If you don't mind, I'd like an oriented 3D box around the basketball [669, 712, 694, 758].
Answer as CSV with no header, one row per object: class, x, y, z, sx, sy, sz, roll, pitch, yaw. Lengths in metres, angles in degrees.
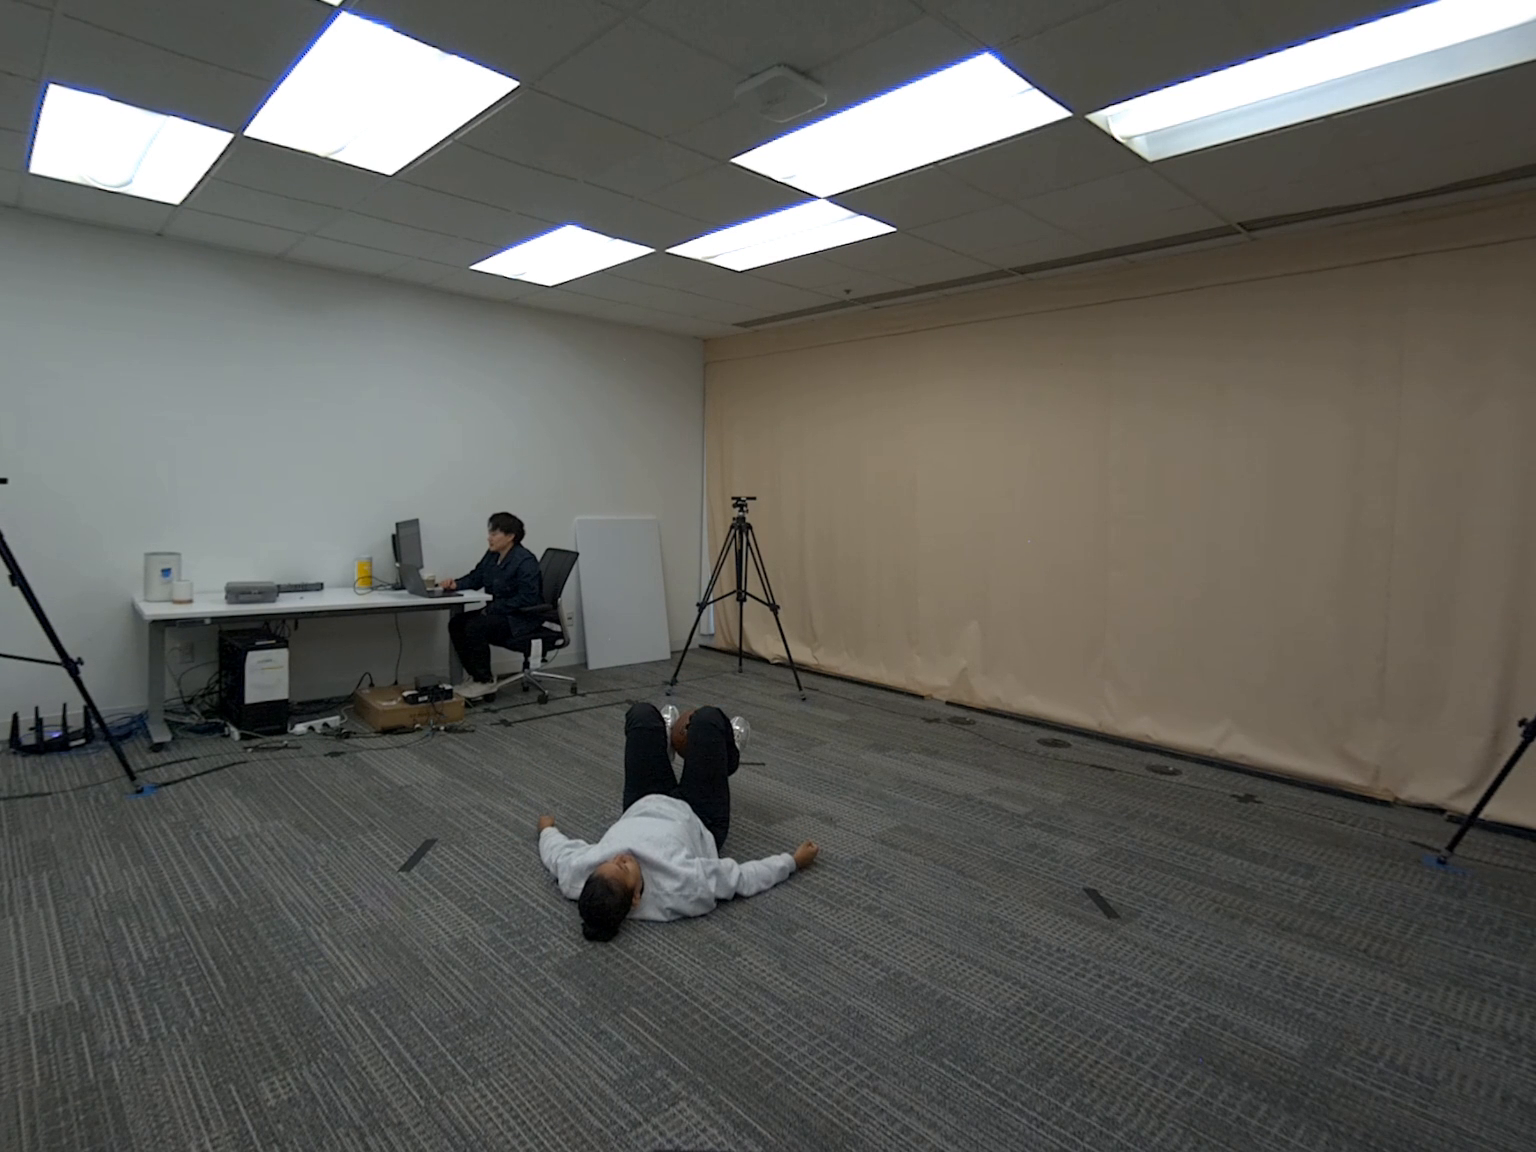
basketball,-0.301,0.691,3.678,0.235,0.235,0.237,4,7,-2
